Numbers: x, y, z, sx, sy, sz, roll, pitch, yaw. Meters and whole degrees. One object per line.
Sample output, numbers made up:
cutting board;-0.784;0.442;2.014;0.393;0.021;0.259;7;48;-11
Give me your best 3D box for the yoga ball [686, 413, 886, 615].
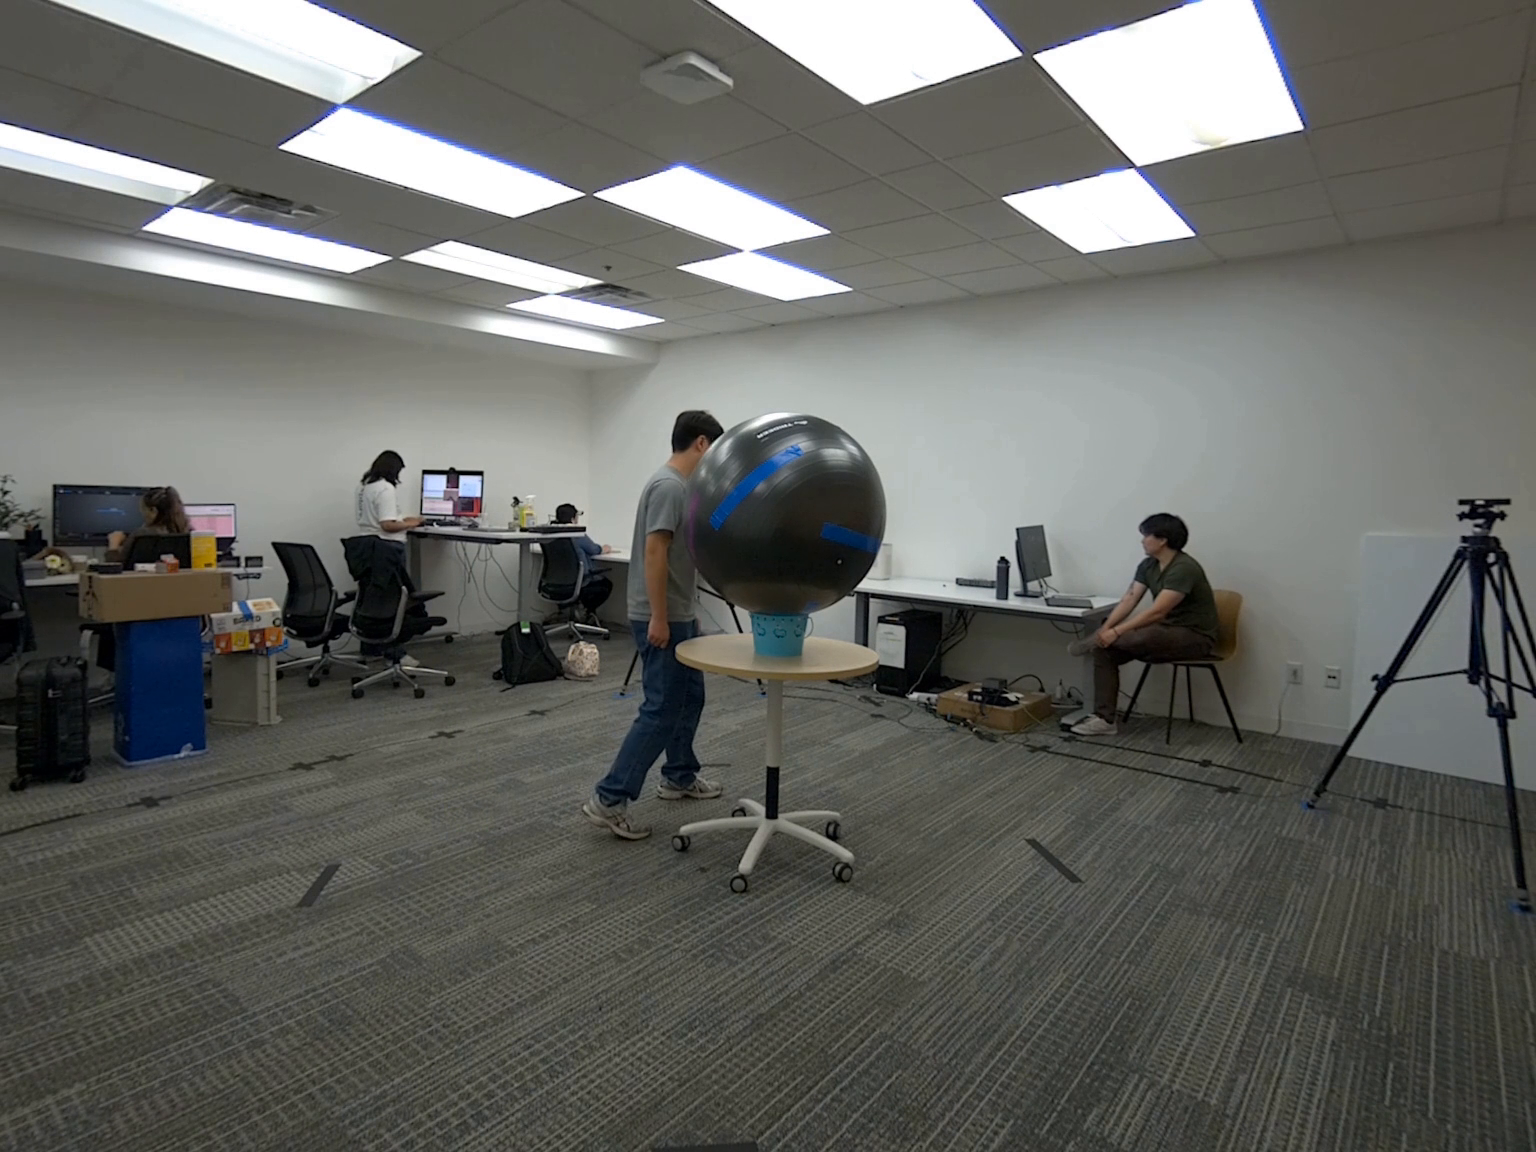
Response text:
yoga ball;0.043;-0.229;3.179;0.757;0.755;0.762;1;4;-2
